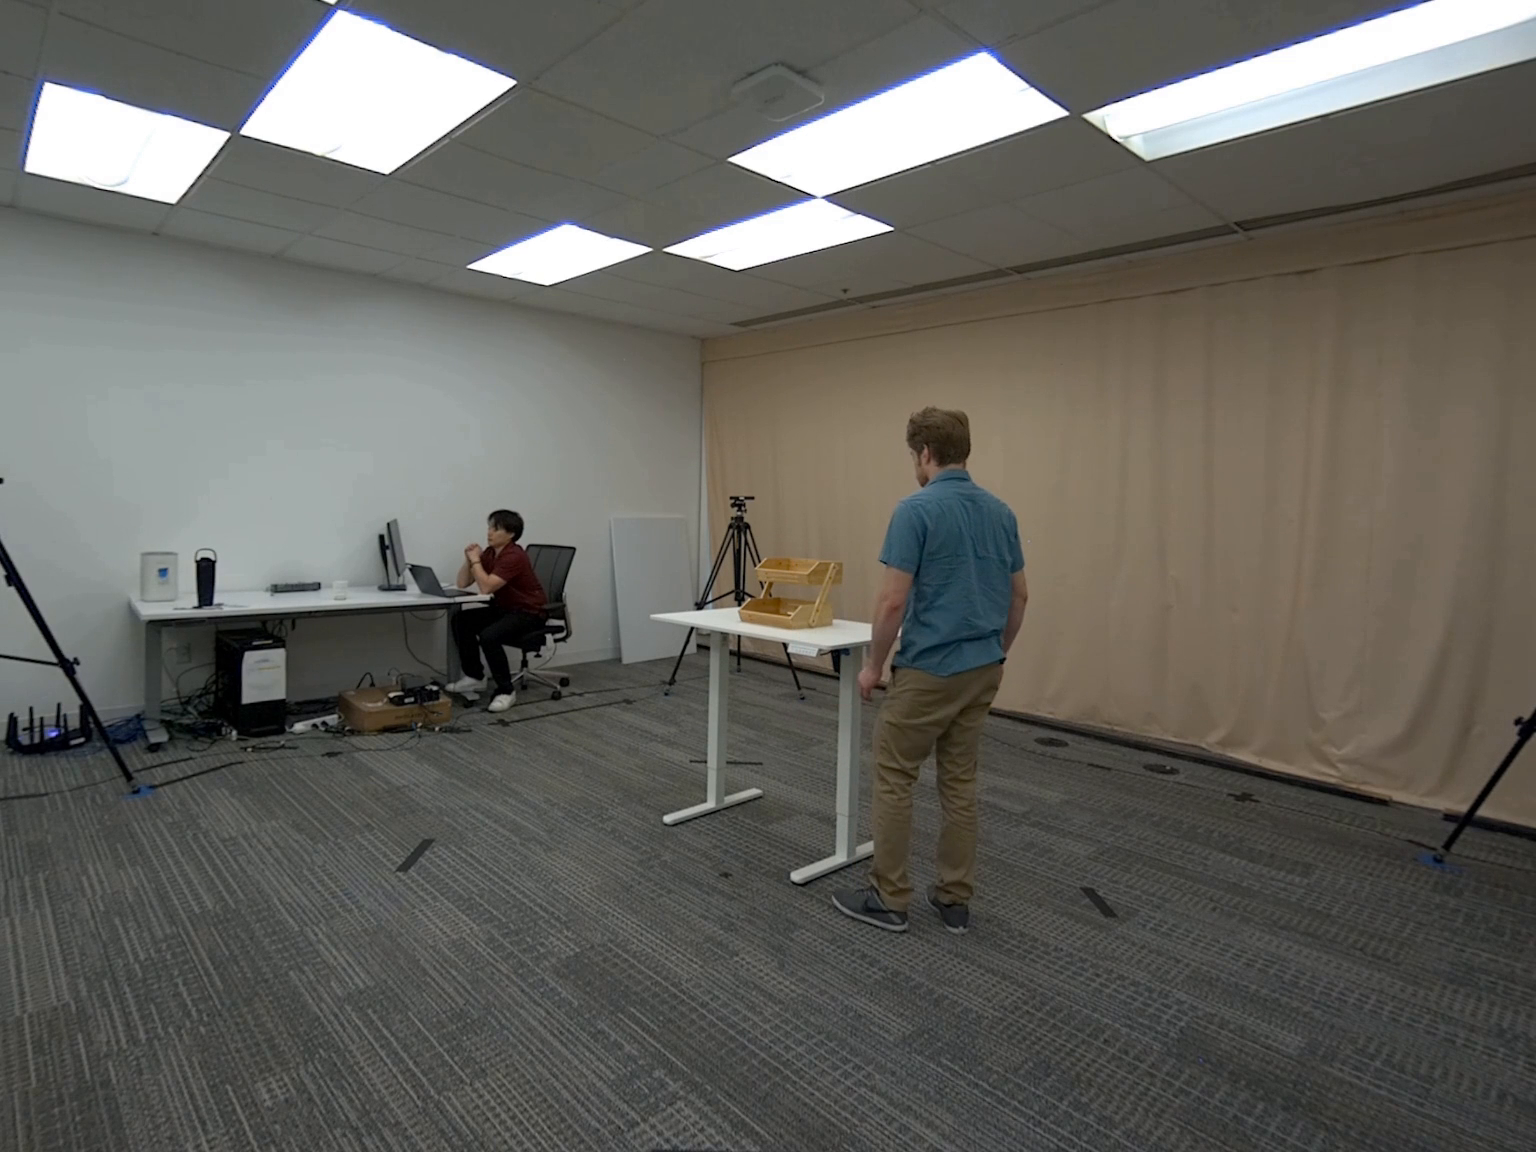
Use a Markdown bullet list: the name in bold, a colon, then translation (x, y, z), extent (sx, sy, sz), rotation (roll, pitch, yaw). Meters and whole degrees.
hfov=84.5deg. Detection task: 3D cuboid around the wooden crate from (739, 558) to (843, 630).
- **wooden crate**: translation (0.083, 0.063, 3.466), extent (0.295, 0.273, 0.333), rotation (-1, 4, -44)
